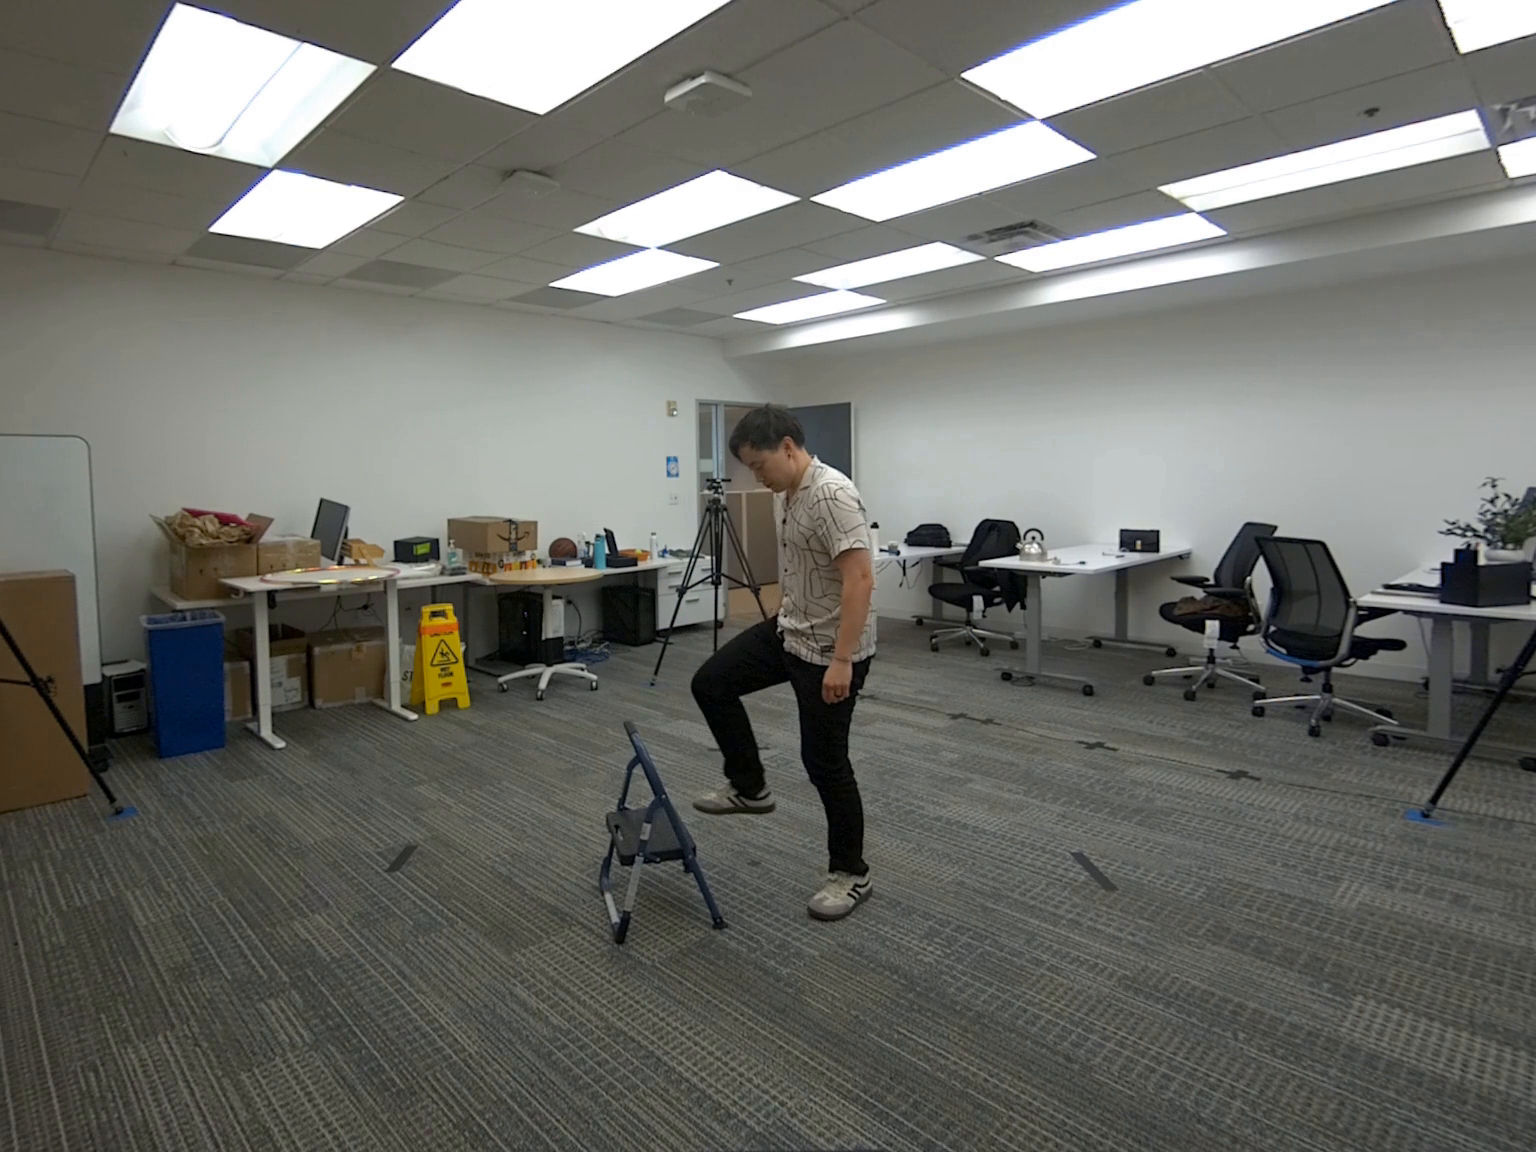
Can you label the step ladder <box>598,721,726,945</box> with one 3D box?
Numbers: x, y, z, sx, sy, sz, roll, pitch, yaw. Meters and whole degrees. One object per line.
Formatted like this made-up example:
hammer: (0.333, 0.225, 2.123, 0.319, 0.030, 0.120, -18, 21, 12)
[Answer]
step ladder: (-0.362, 0.783, 2.797, 0.344, 0.604, 0.439, -2, 5, -18)
